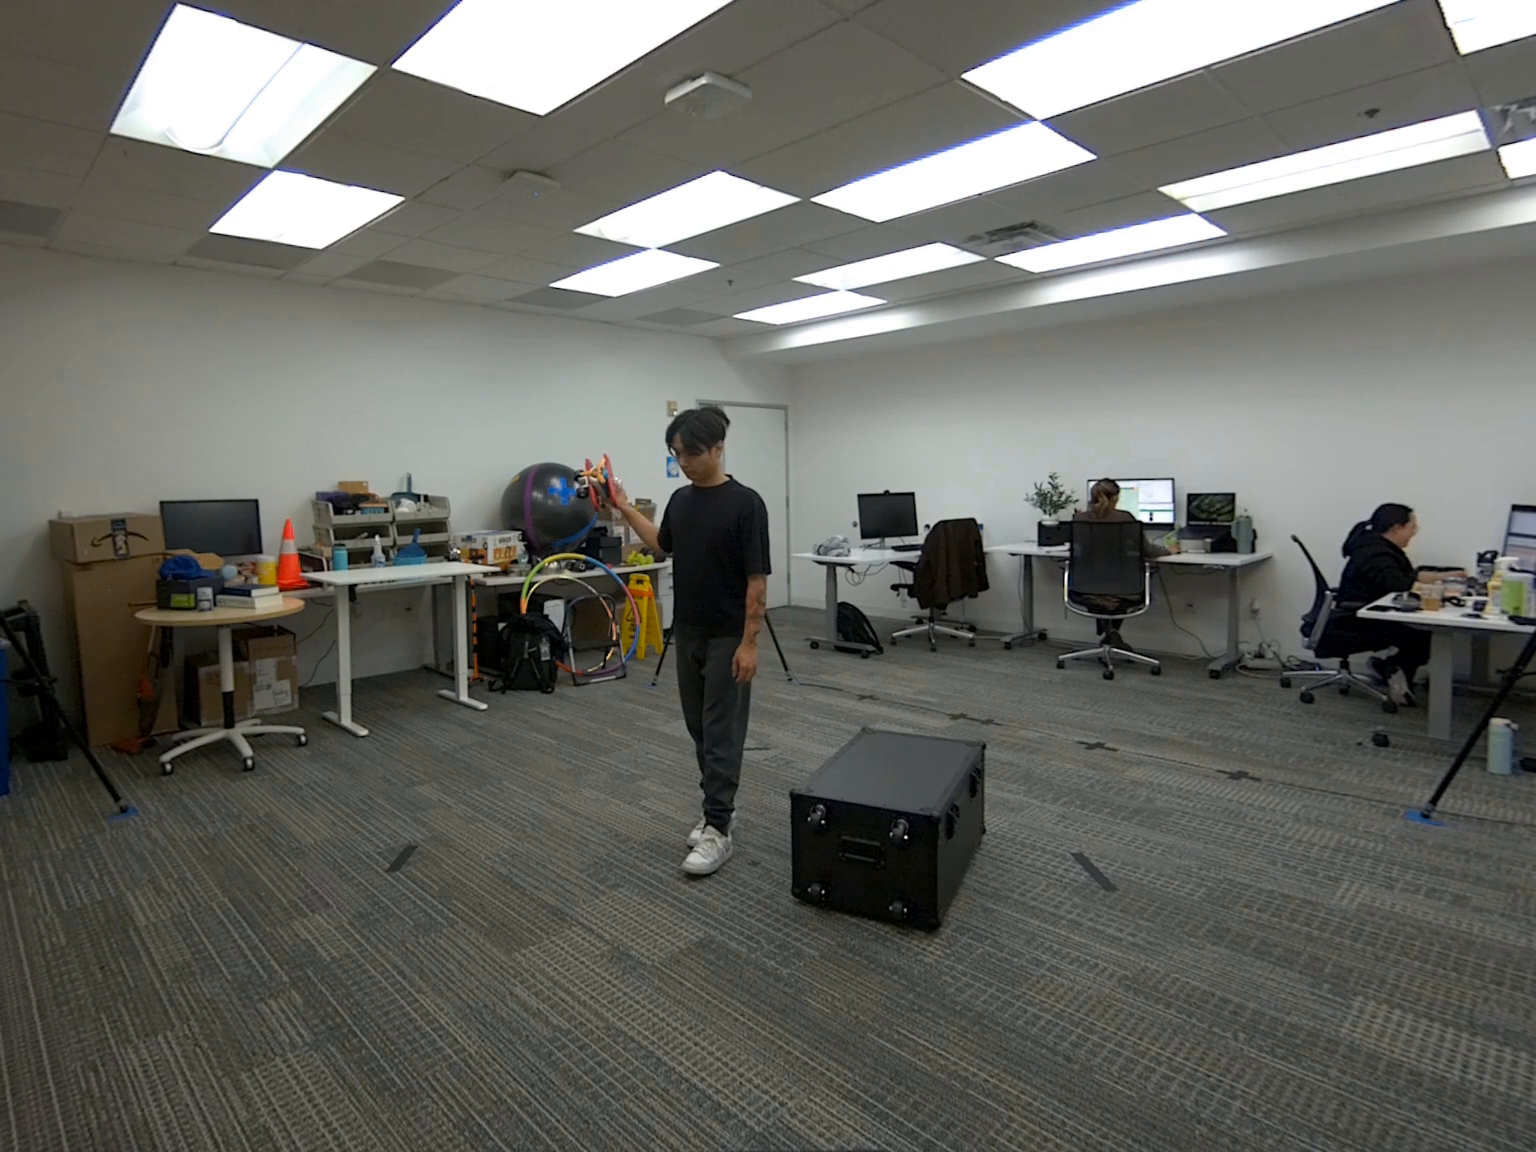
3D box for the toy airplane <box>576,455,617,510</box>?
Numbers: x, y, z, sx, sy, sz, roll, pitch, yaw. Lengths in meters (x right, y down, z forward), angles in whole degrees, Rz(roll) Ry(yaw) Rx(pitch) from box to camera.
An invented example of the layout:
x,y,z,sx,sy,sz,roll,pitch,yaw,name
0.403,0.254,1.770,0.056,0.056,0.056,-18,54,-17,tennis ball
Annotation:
x,y,z,sx,sy,sz,roll,pitch,yaw,name
-0.693,-0.379,3.543,0.158,0.252,0.256,-21,-2,13,toy airplane
